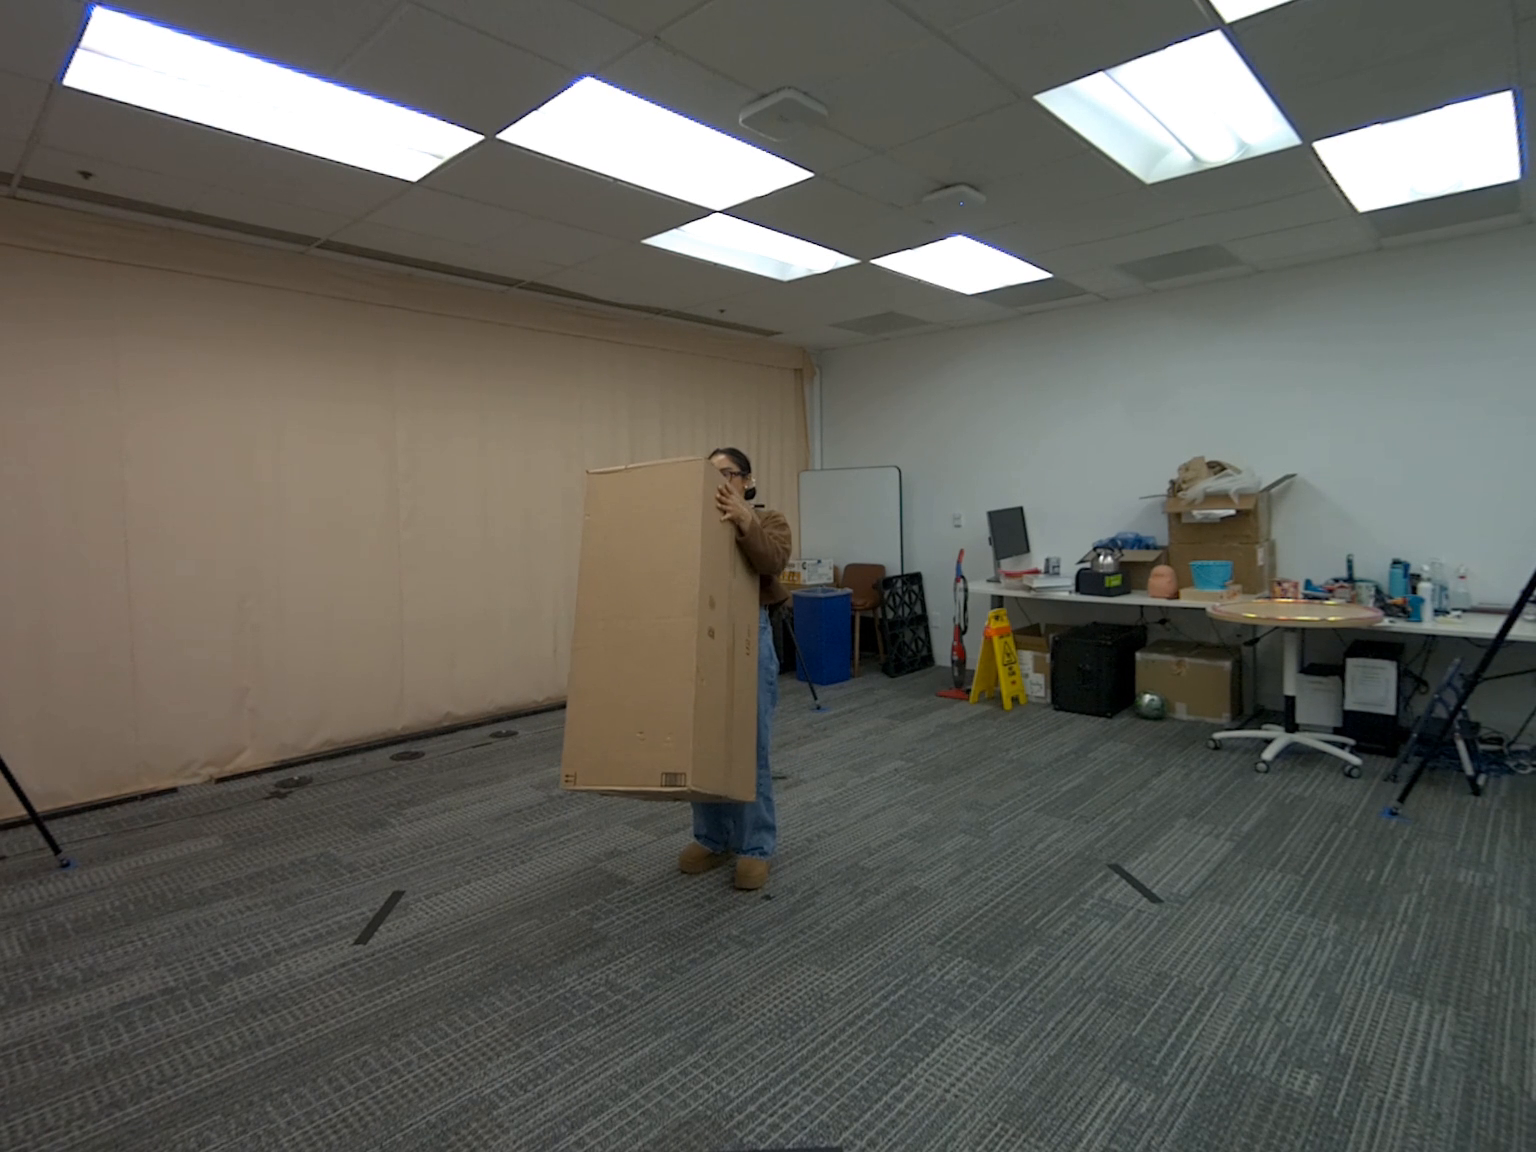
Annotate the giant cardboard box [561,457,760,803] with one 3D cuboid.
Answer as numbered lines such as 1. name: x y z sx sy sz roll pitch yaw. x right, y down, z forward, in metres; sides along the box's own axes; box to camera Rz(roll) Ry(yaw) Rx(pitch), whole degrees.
1. giant cardboard box: -0.324 0.205 2.809 0.435 1.037 0.560 -5 -20 20
